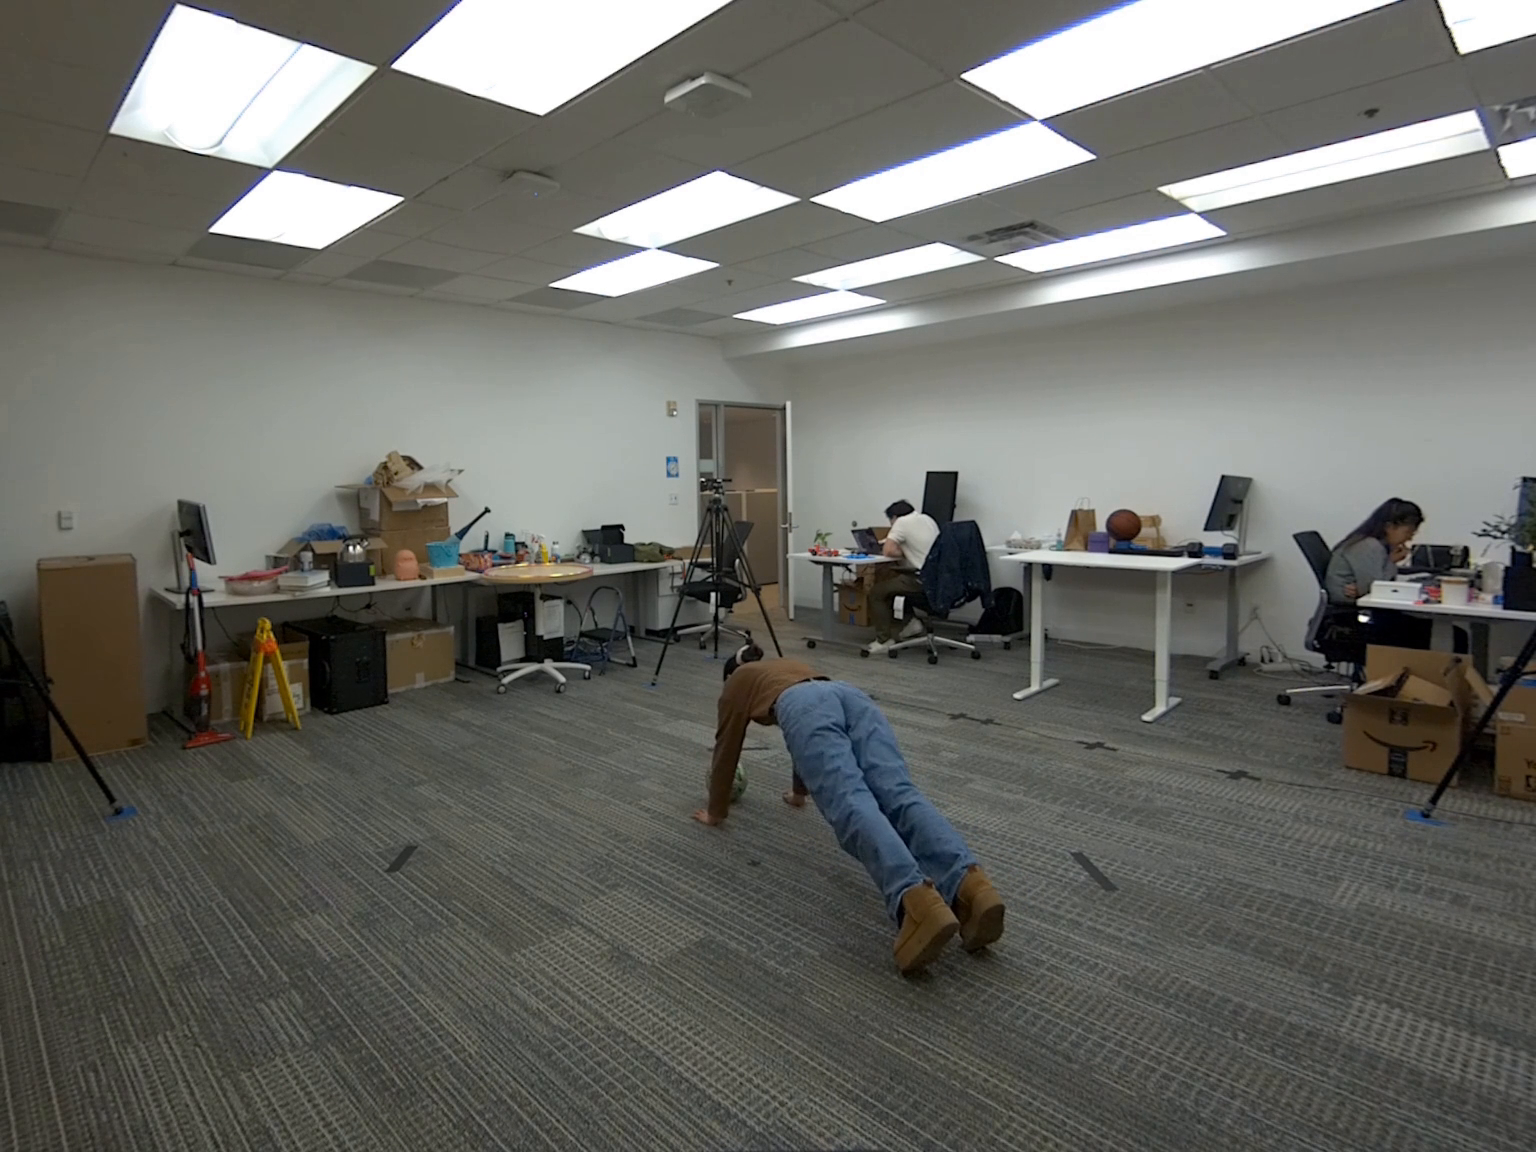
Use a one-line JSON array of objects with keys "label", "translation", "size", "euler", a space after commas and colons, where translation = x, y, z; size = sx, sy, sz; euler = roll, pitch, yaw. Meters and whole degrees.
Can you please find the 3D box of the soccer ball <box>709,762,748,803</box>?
[{"label": "soccer ball", "translation": [-0.173, 0.886, 3.730], "size": [0.187, 0.187, 0.188], "euler": [-1, 5, -2]}]
